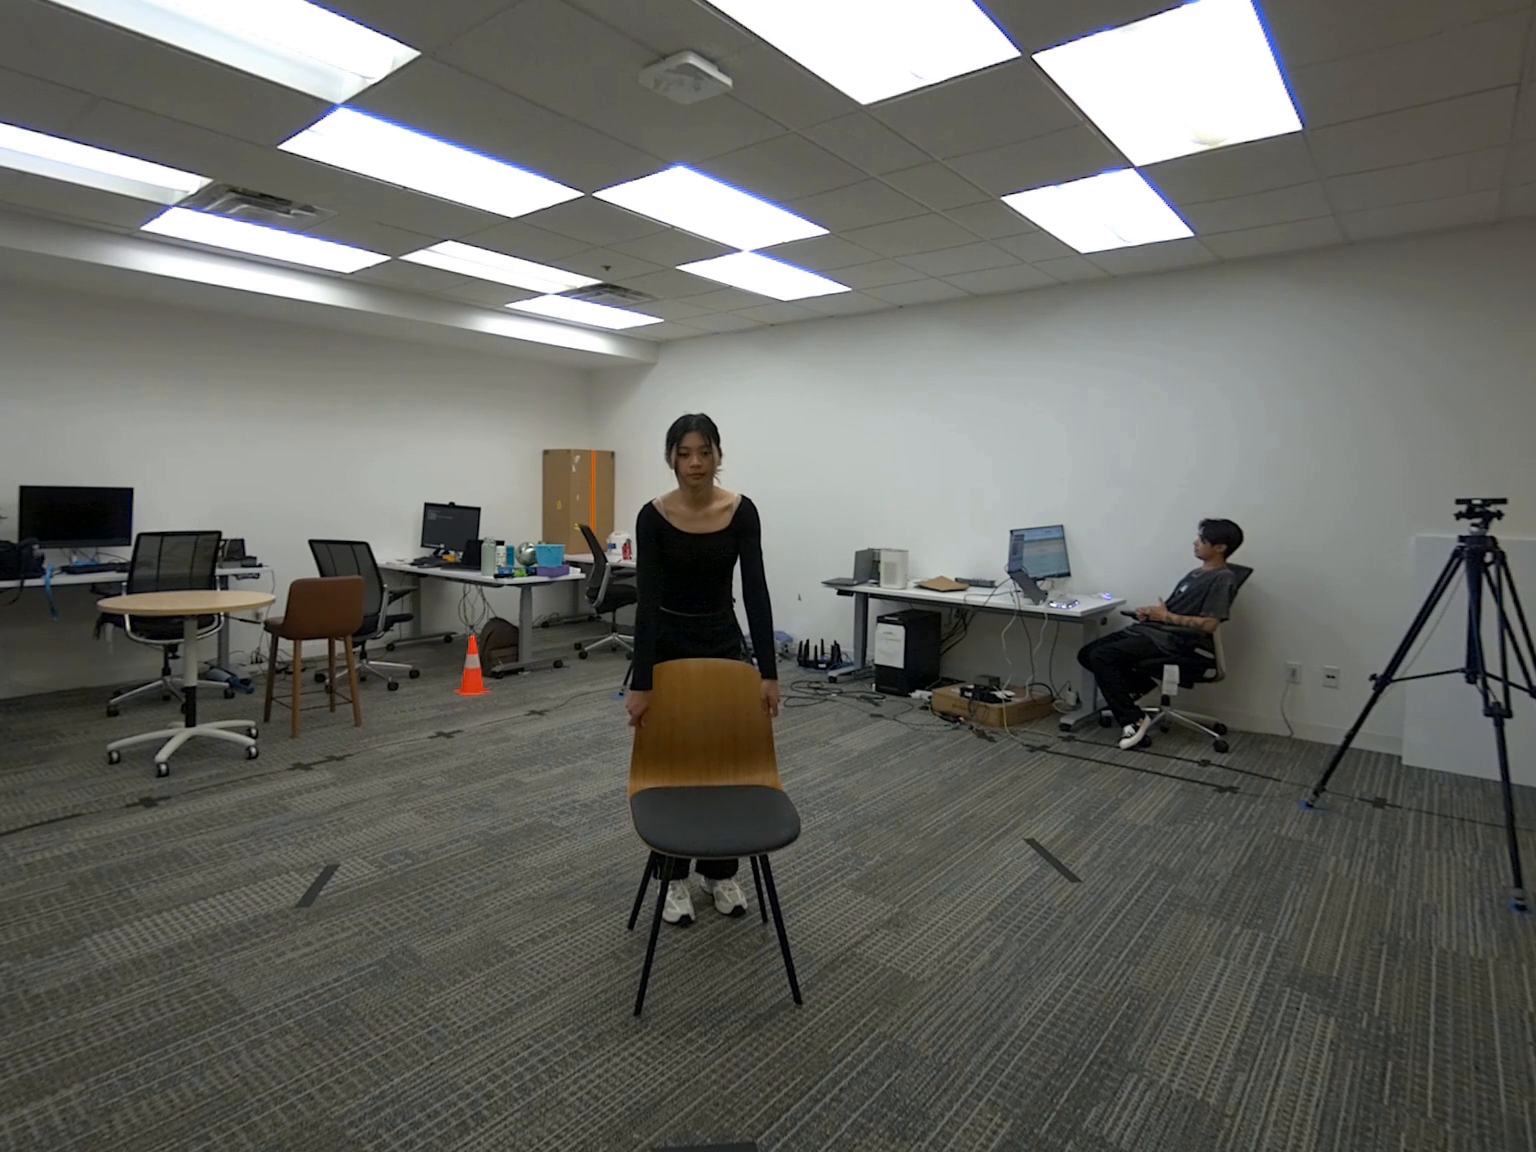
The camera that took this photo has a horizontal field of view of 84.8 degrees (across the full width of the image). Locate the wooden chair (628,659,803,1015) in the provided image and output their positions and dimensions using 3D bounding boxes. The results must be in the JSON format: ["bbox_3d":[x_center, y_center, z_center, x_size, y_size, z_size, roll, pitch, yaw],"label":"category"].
[{"bbox_3d":[-0.165,0.708,2.450,0.473,0.878,0.528,2,-1,-10],"label":"wooden chair"}]
